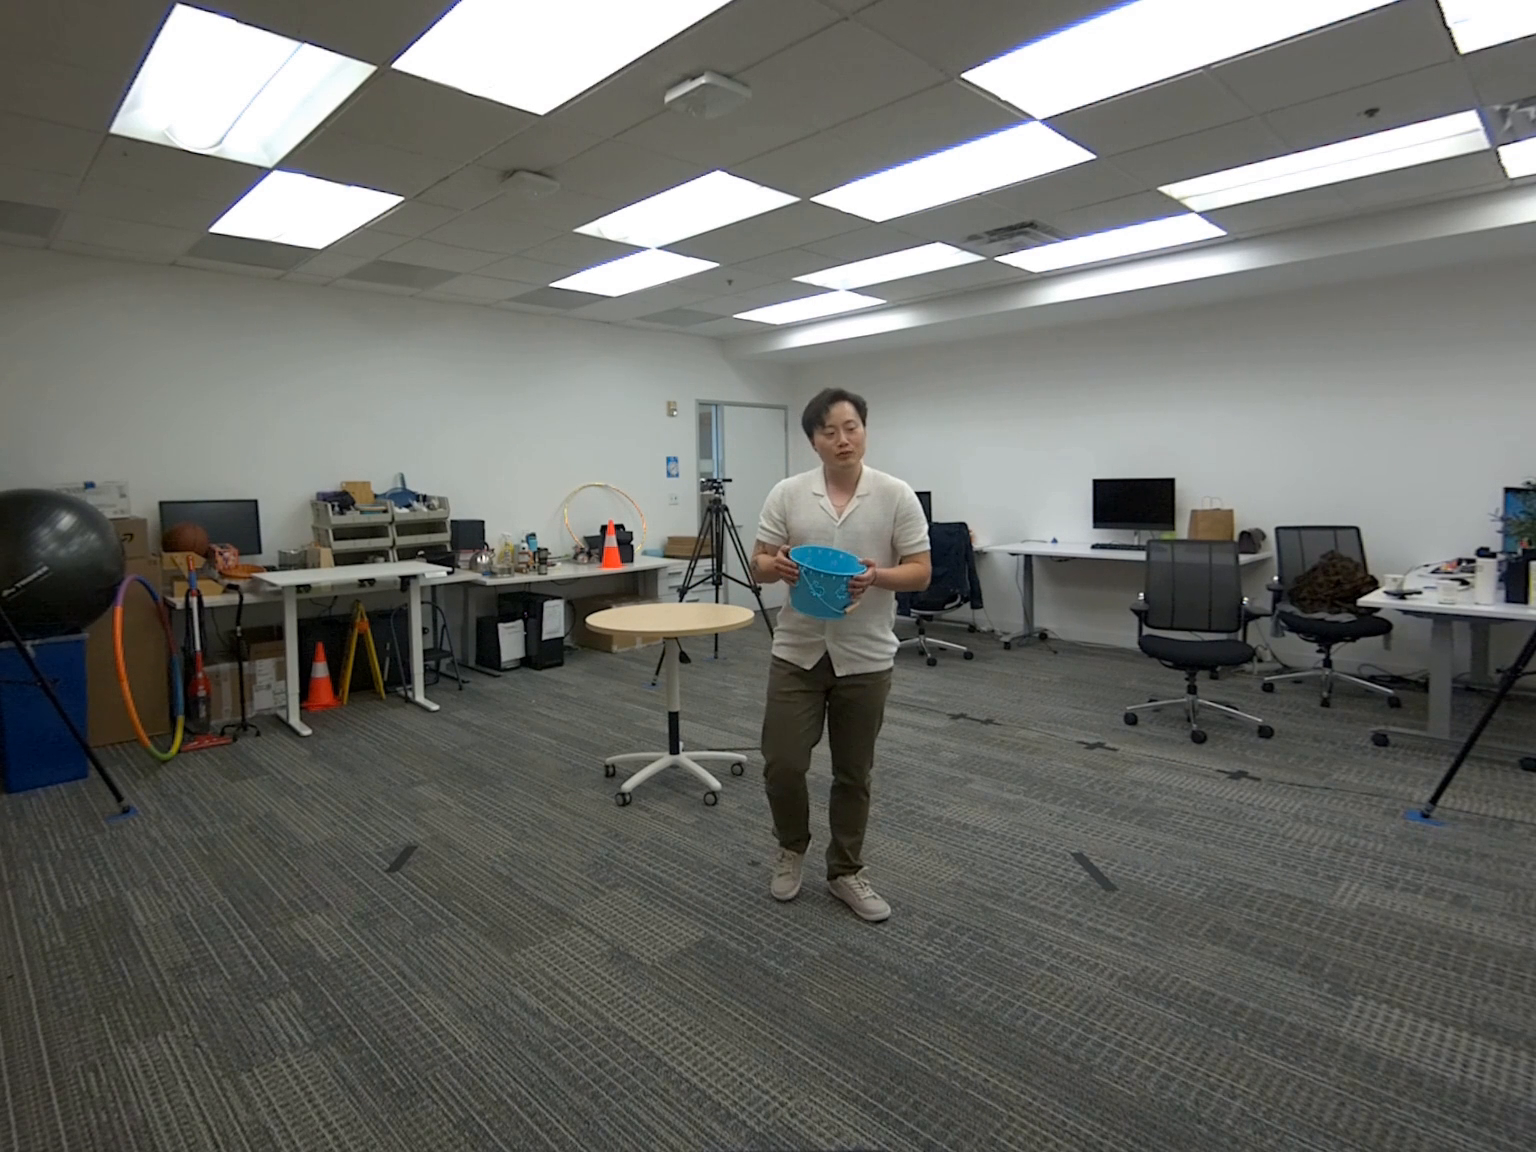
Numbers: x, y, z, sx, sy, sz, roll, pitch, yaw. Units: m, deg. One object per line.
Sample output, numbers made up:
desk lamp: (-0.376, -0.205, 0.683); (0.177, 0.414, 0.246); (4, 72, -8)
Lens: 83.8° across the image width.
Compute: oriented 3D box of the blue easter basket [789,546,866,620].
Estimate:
blue easter basket: (0.180, 0.022, 2.518); (0.243, 0.154, 0.247); (6, 18, -4)
